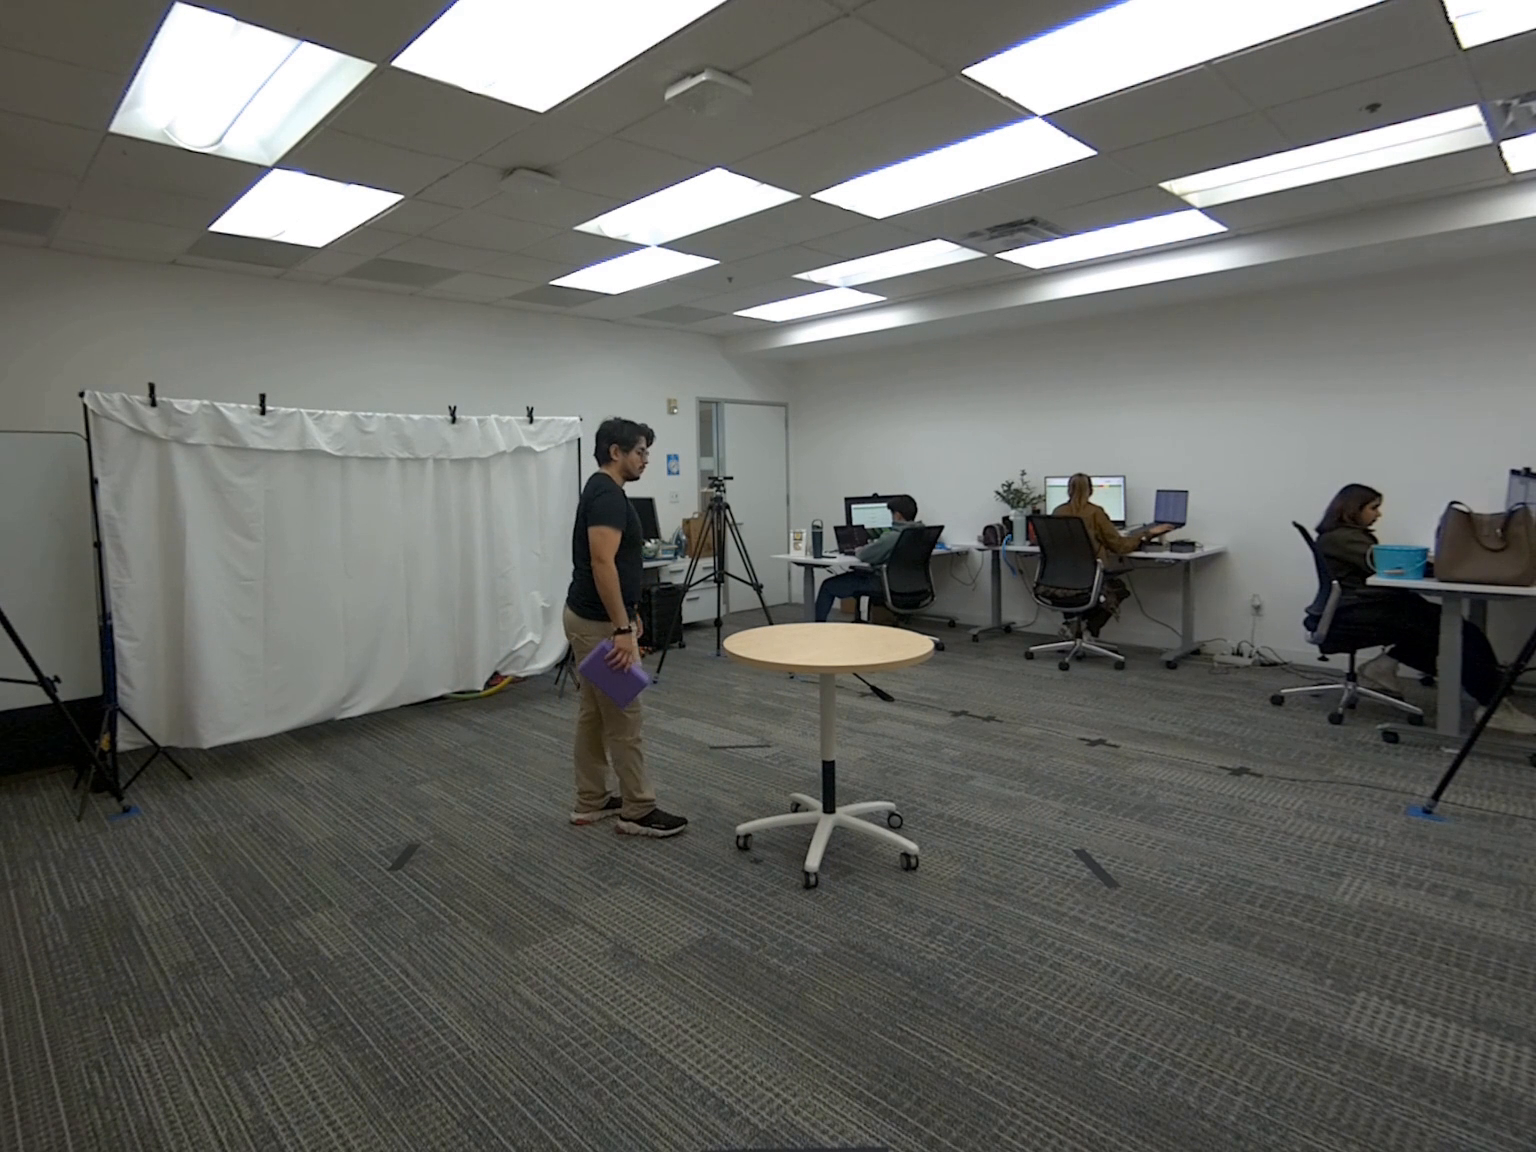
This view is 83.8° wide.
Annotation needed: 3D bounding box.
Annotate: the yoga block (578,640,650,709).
[{"bbox_3d":[-0.571,0.367,3.199,0.149,0.227,0.077,-43,8,14],"label":"yoga block"}]
